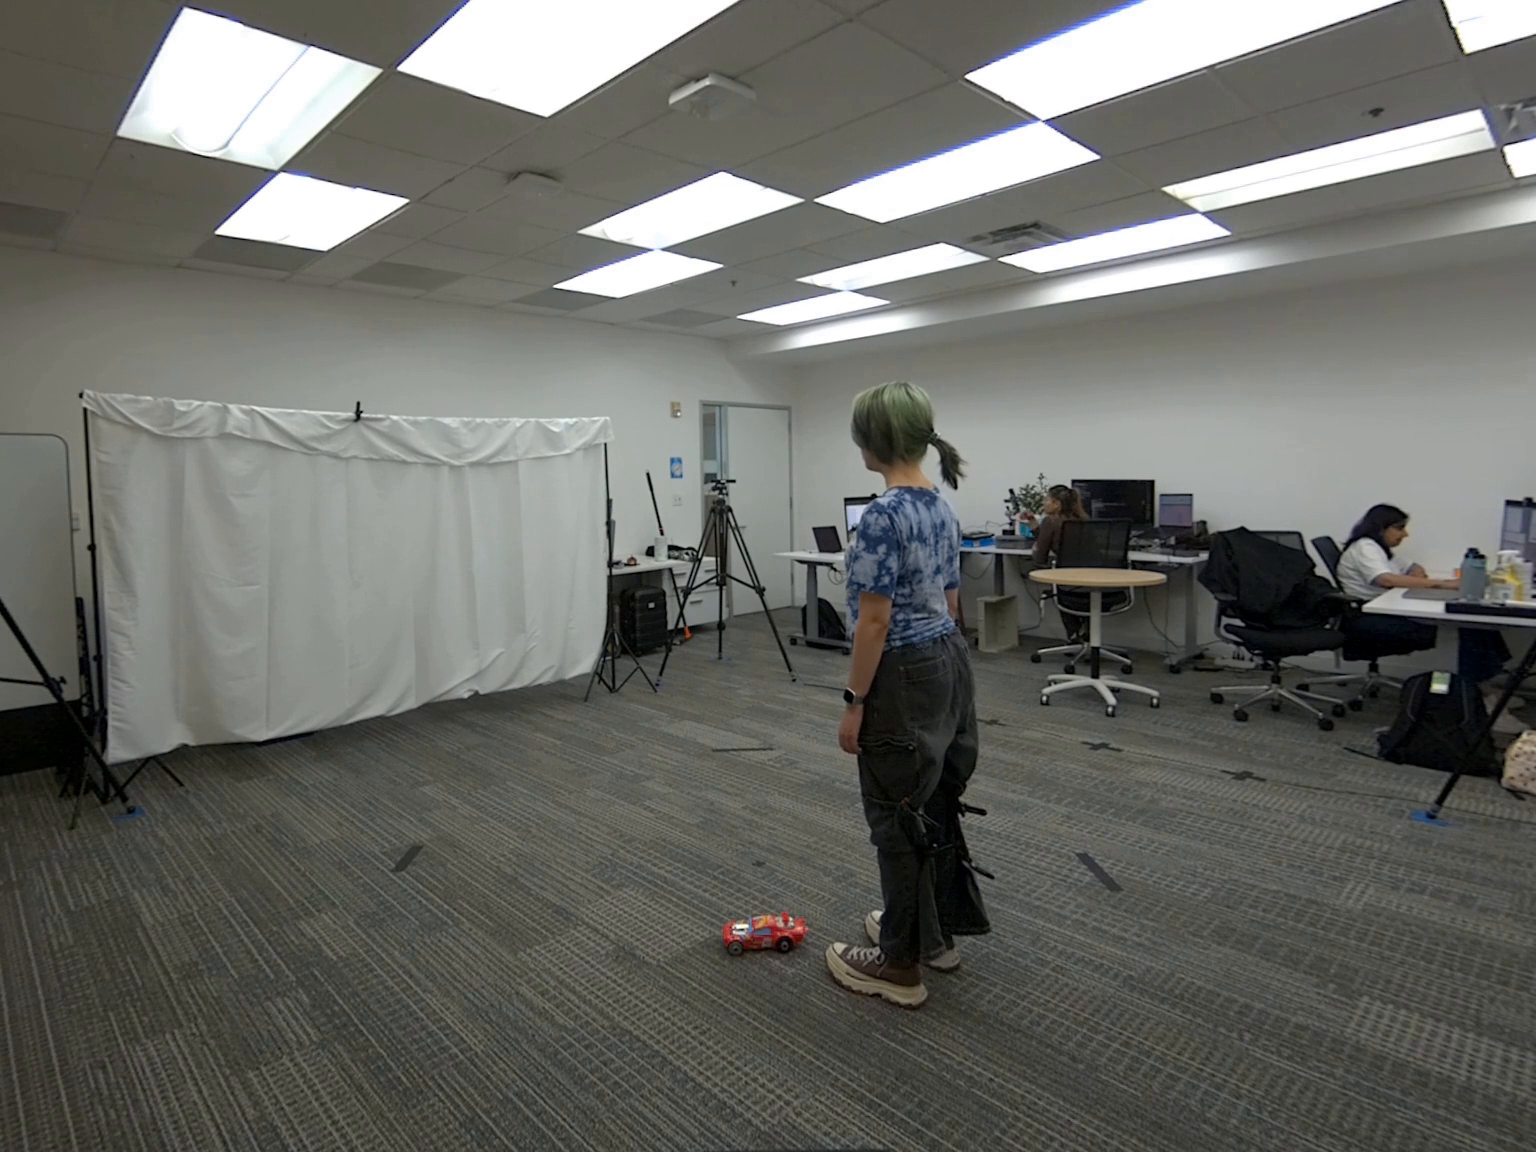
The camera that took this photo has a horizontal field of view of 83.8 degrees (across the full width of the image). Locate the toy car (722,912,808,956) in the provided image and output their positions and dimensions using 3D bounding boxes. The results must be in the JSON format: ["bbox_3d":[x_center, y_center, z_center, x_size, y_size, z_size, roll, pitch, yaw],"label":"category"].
[{"bbox_3d":[-0.004,1.079,2.565,0.254,0.083,0.131,-13,5,-2],"label":"toy car"}]
